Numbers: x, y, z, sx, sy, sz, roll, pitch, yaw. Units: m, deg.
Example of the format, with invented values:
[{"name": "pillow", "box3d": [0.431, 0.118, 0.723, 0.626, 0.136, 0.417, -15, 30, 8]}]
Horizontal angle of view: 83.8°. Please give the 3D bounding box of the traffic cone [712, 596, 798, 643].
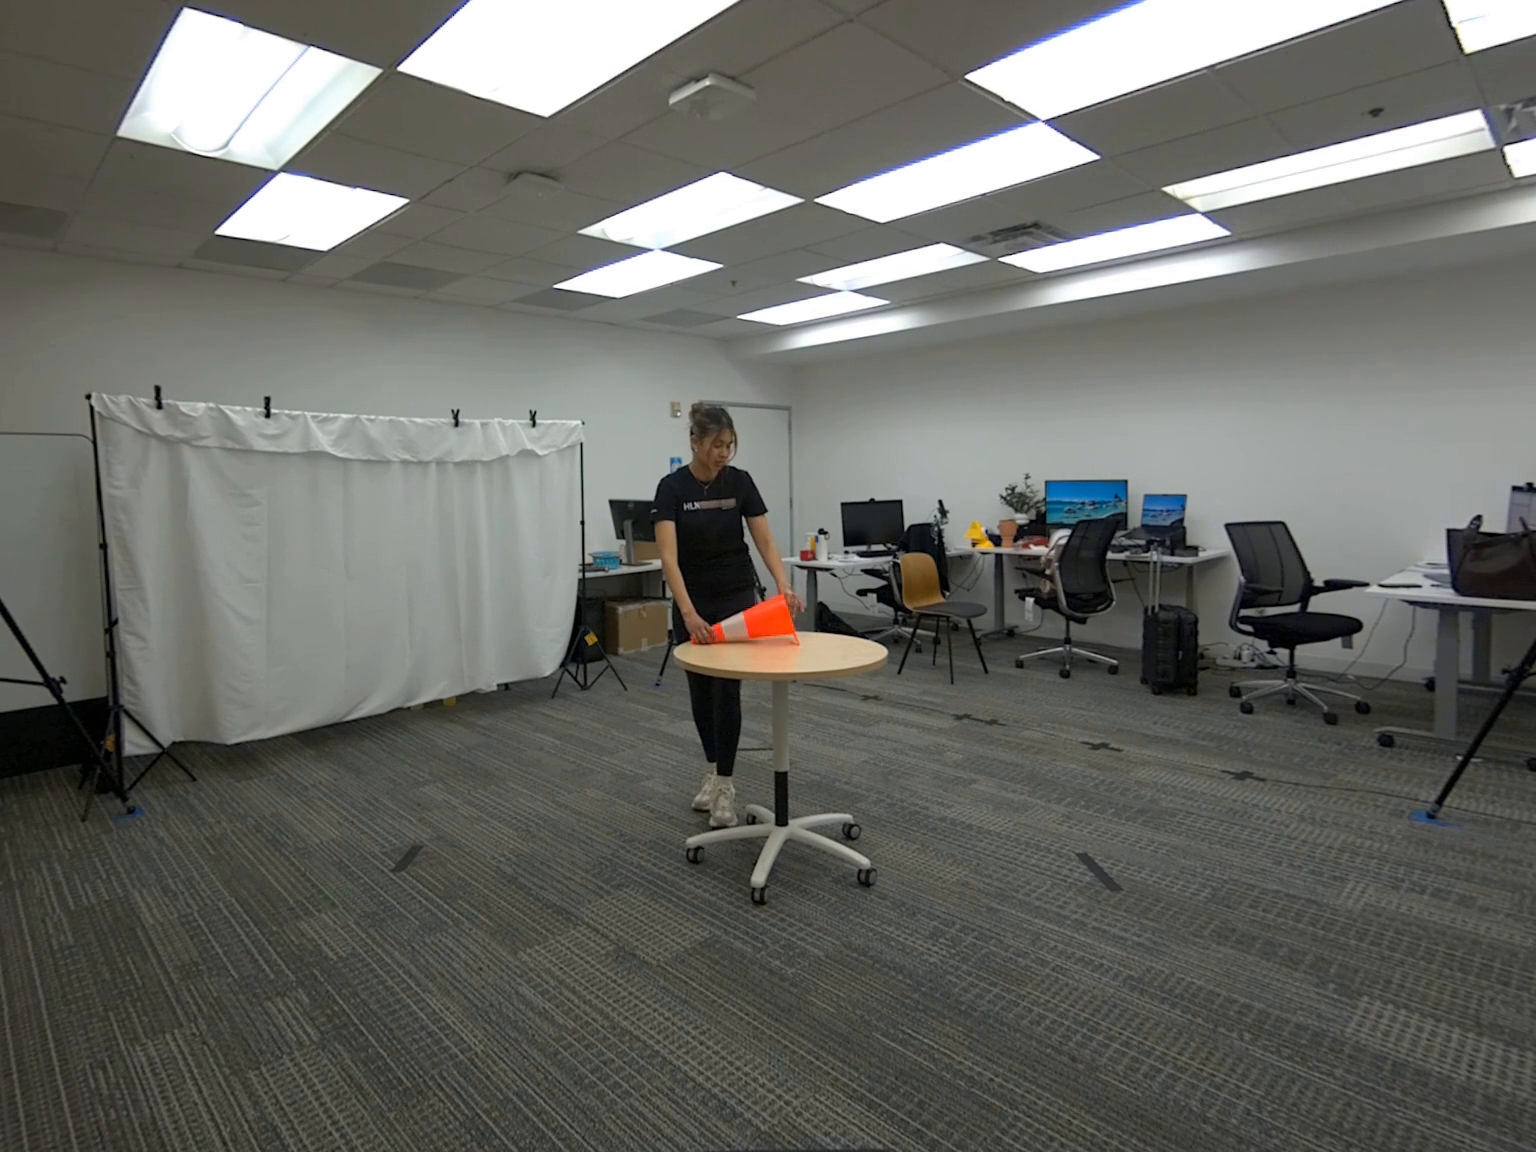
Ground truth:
[{"name": "traffic cone", "box3d": [-0.102, 0.194, 3.217, 0.384, 0.200, 0.208, -14, 16, 0]}]
